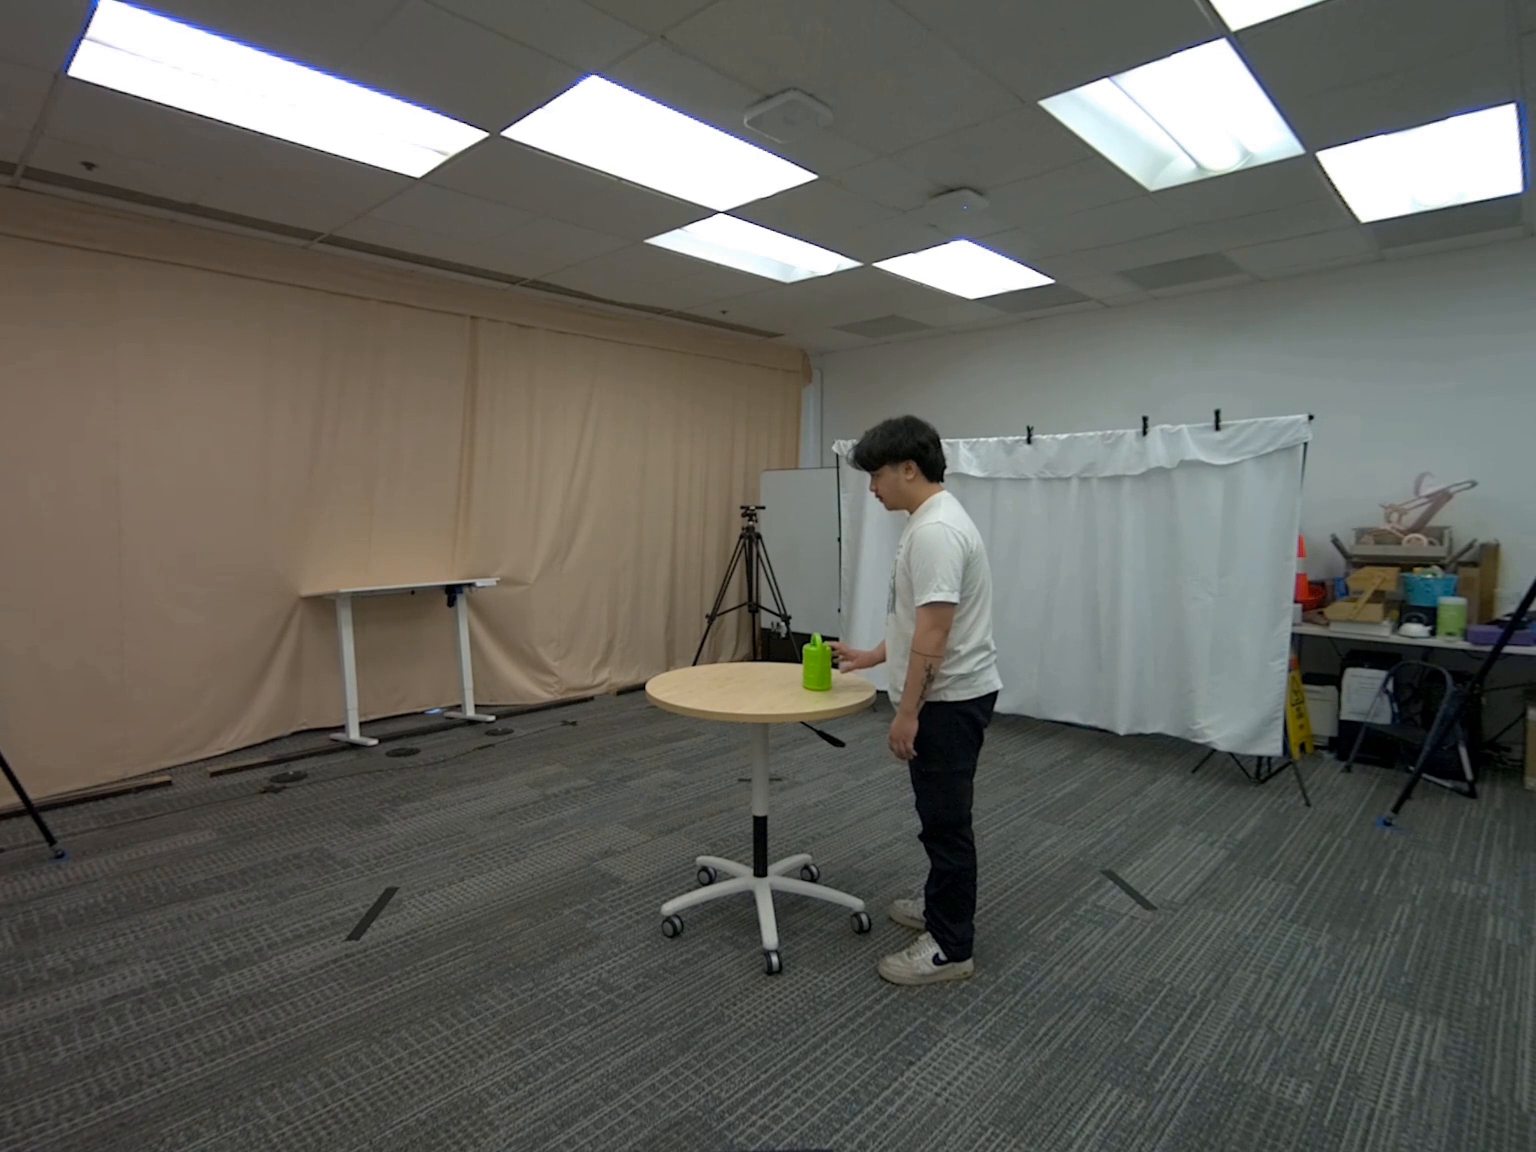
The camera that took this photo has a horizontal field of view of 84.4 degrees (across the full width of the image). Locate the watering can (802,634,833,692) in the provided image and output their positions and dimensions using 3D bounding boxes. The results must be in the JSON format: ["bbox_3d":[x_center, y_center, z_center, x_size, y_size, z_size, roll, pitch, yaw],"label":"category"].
[{"bbox_3d":[0.168,0.289,2.734,0.099,0.176,0.277,0,4,5],"label":"watering can"}]
